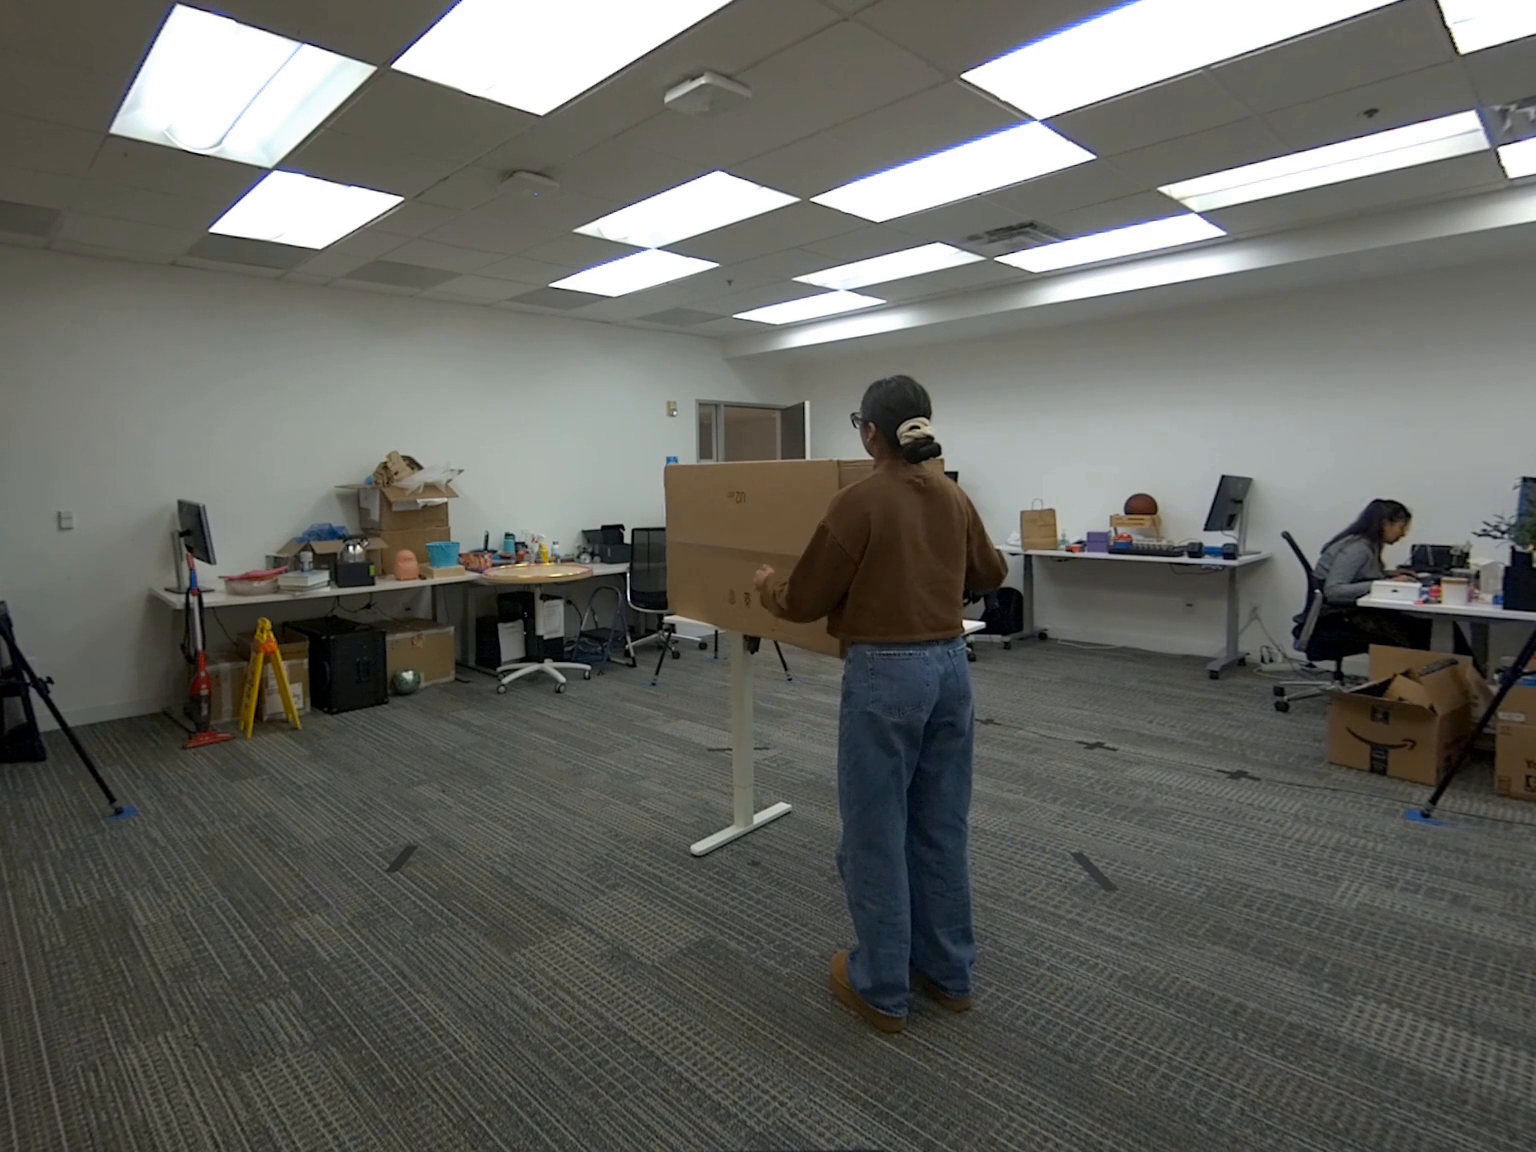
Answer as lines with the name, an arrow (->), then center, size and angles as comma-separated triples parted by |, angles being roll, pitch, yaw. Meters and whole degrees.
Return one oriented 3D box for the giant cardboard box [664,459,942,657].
giant cardboard box -> 0.084, -0.107, 2.961 | 0.416, 0.574, 1.057 | -5, 8, -34
